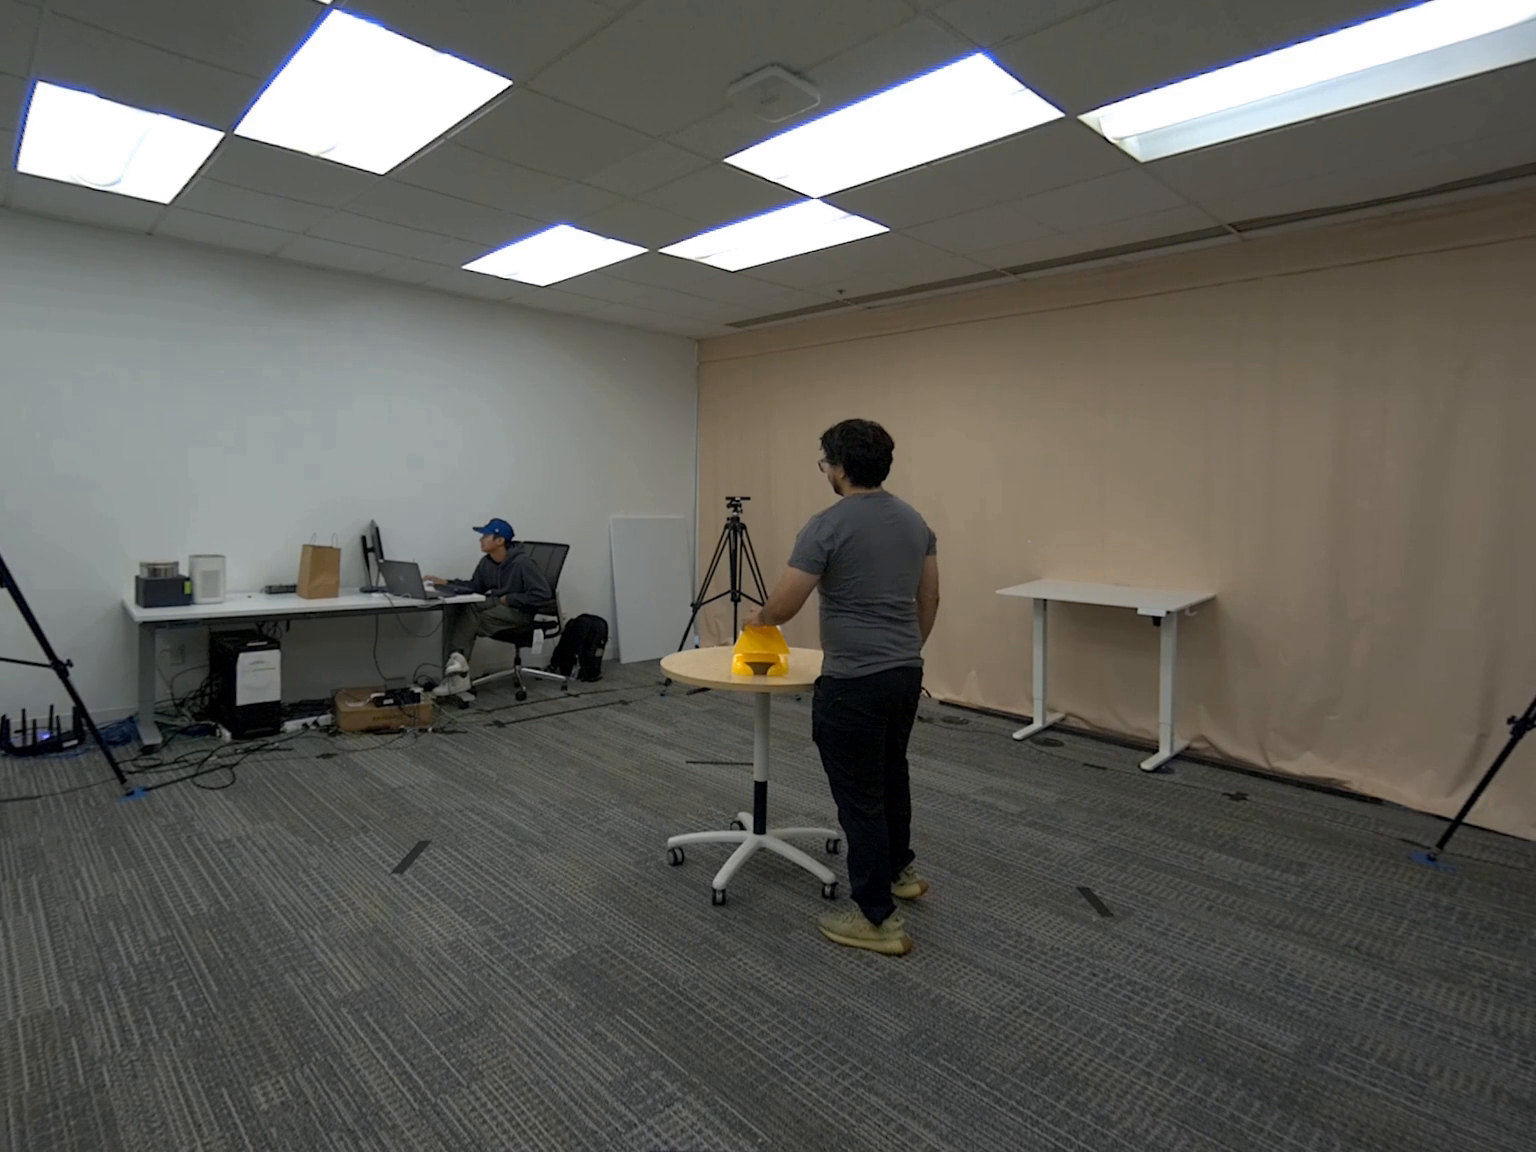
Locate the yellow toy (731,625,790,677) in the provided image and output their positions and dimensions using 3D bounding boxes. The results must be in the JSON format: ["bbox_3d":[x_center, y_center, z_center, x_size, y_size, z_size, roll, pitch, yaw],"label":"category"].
[{"bbox_3d":[-0.033,0.222,2.967,0.205,0.230,0.193,0,4,0],"label":"yellow toy"}]
